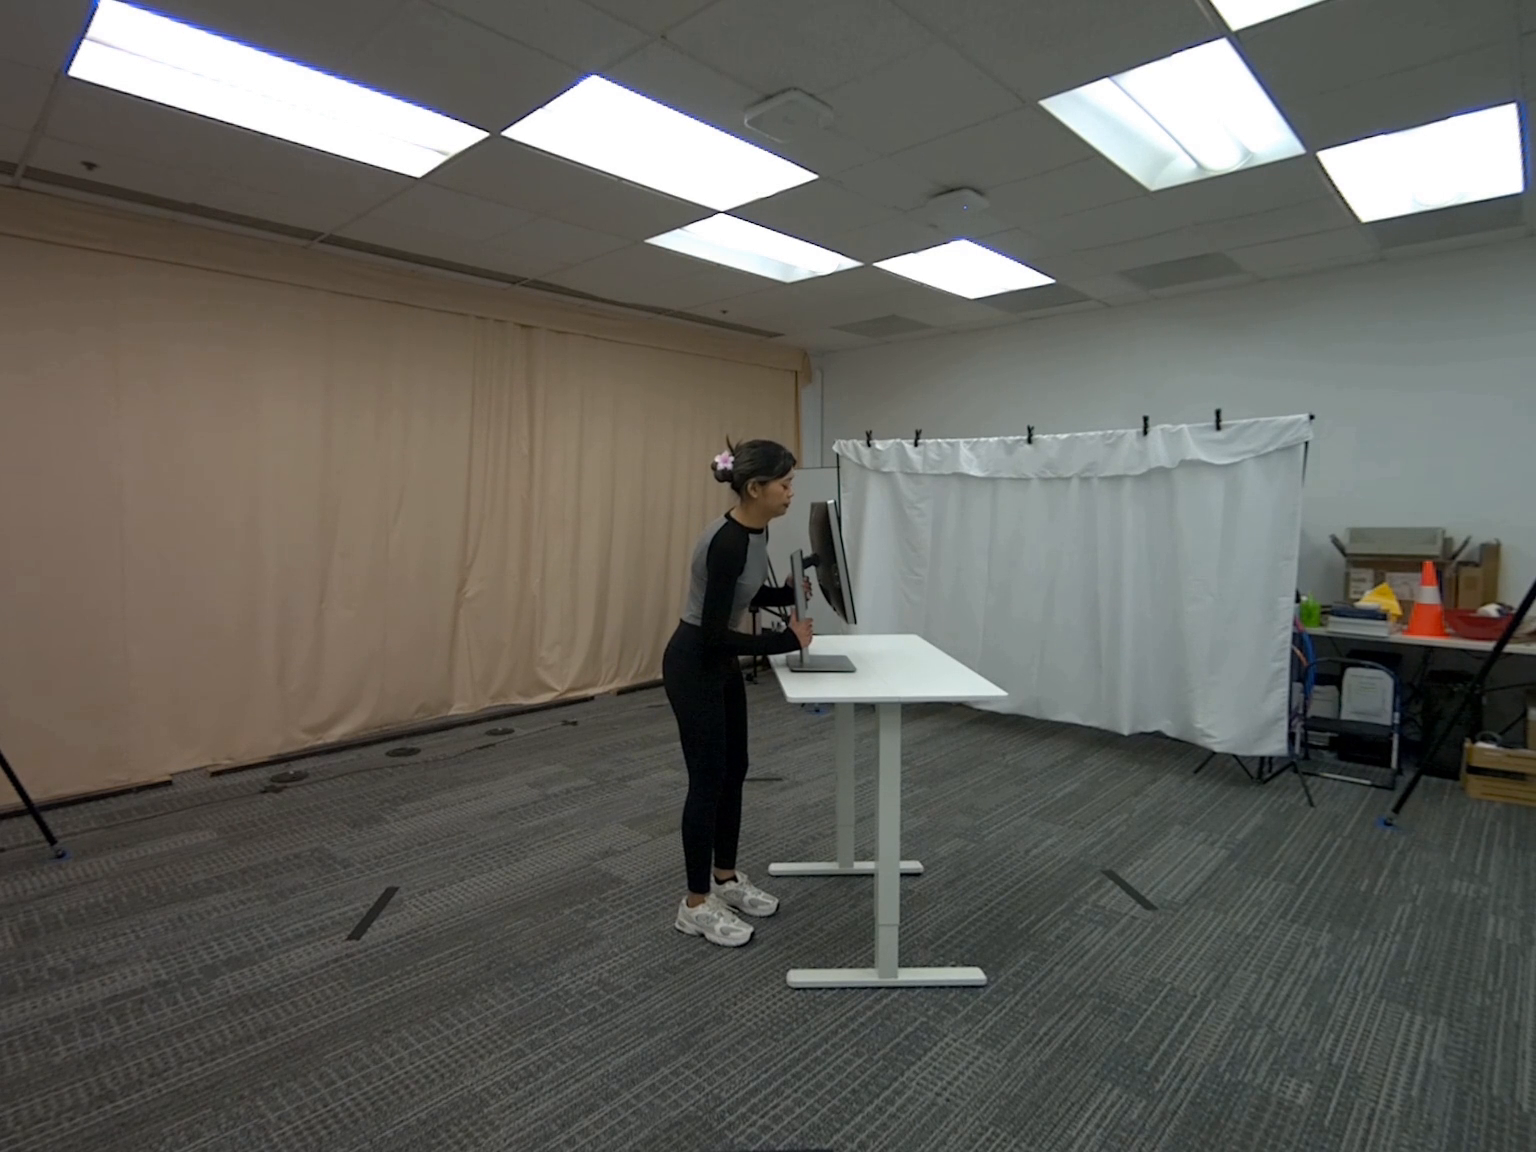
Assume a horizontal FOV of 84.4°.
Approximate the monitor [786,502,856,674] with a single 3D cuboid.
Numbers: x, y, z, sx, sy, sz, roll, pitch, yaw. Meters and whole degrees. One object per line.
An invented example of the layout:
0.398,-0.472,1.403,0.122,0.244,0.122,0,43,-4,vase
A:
0.167,0.029,2.681,0.186,0.521,0.542,2,4,-4,monitor
